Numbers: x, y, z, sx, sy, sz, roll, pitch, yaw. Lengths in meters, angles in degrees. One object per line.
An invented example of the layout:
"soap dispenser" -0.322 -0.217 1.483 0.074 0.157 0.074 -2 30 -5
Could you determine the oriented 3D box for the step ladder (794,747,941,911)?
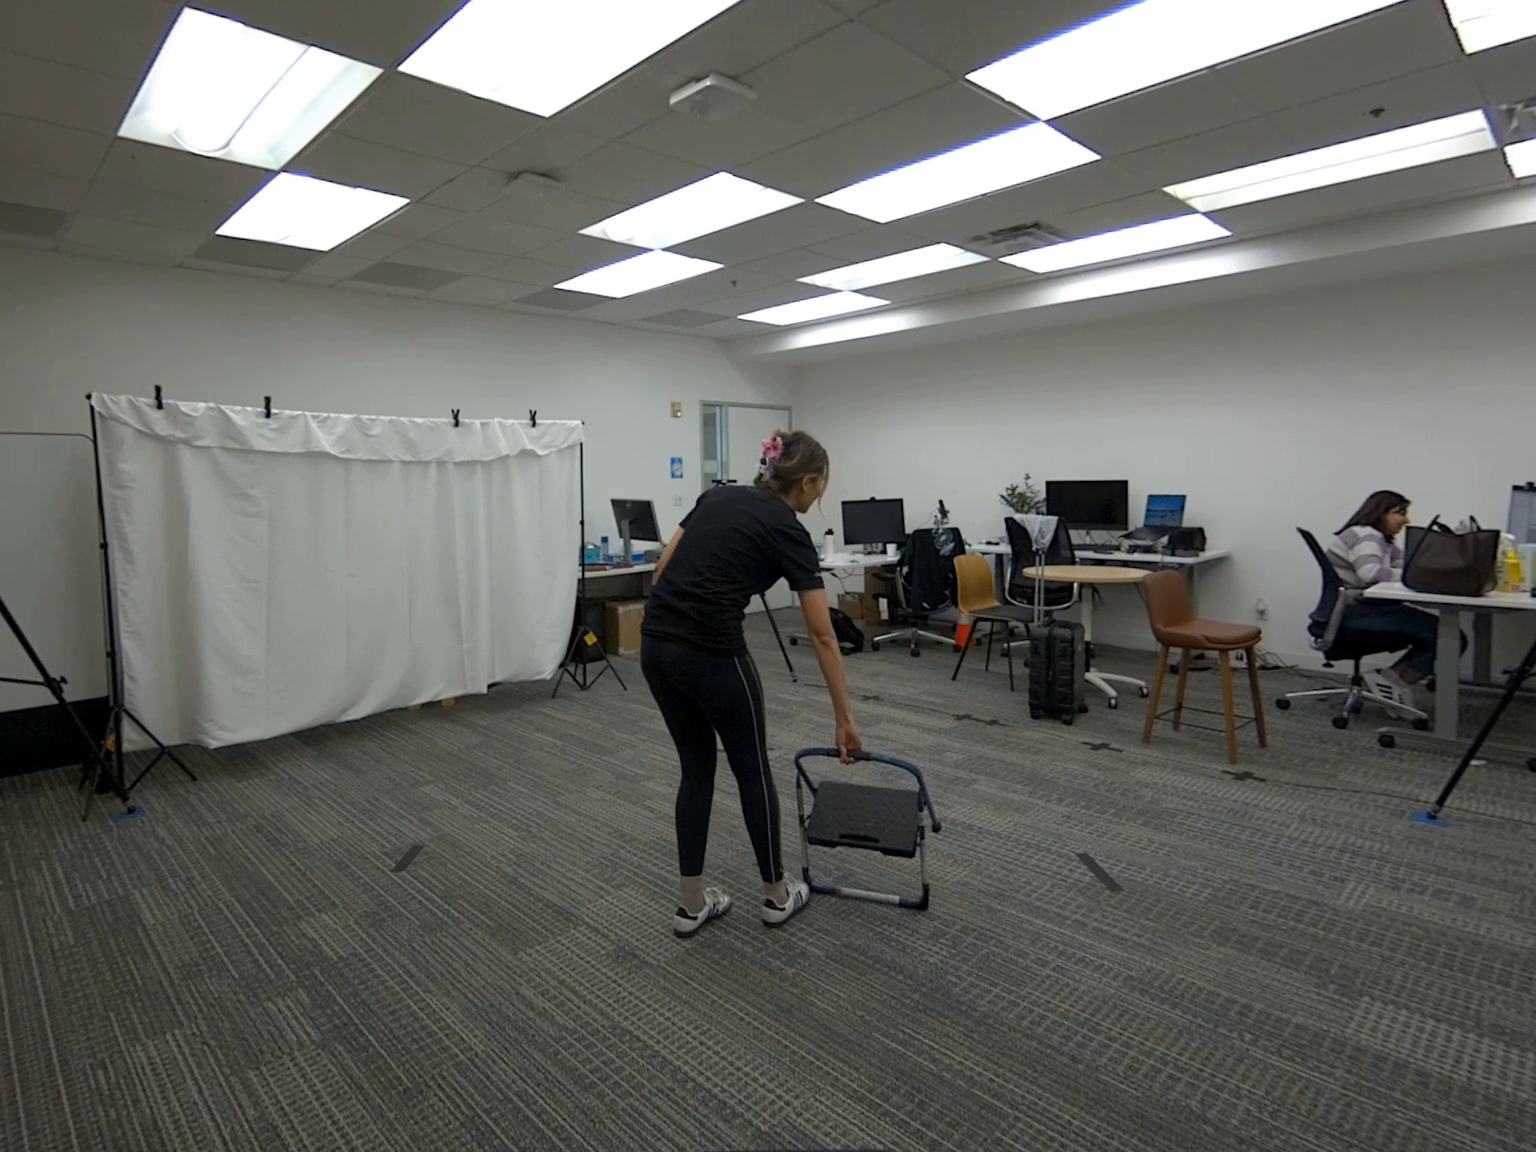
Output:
"step ladder" 0.316 0.737 2.807 0.438 0.588 0.353 1 35 19
